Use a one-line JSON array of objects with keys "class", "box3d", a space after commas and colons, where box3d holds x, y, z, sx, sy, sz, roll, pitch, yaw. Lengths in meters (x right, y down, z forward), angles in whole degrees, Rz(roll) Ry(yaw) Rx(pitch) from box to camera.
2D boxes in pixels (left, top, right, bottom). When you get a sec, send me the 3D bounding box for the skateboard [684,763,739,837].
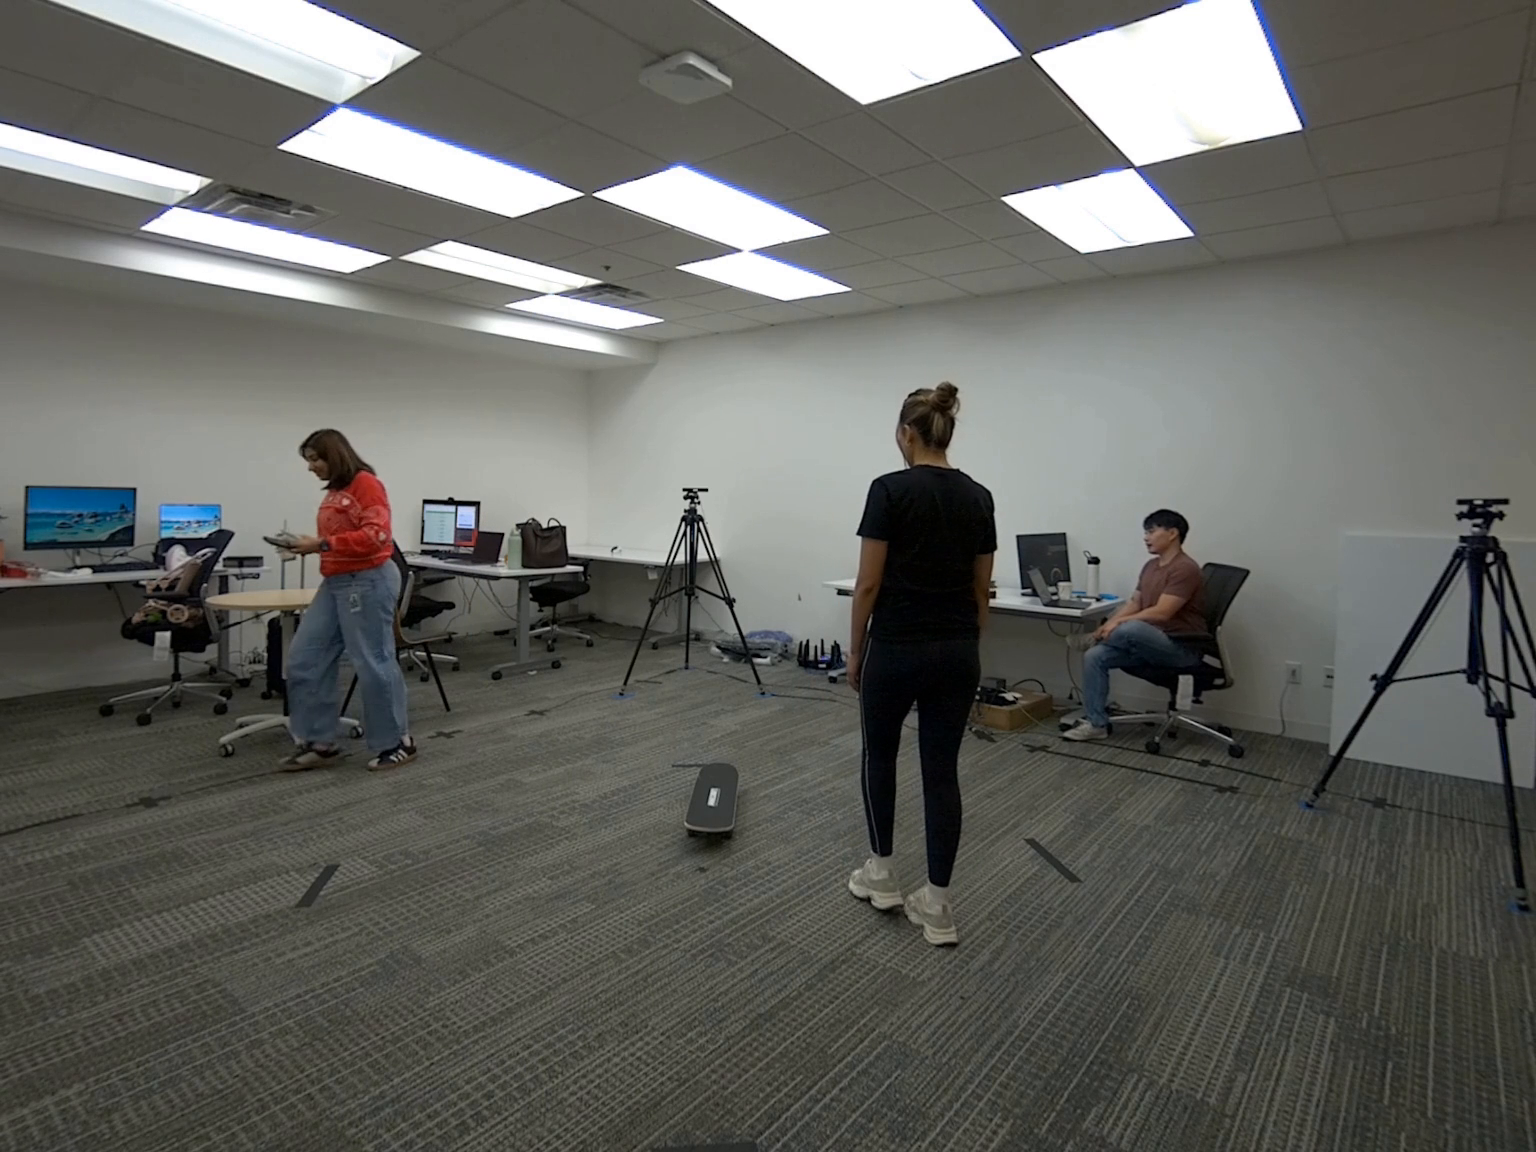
[{"class": "skateboard", "box3d": [-0.242, 0.964, 3.612, 0.194, 0.110, 0.787, 1, 6, 0]}]
